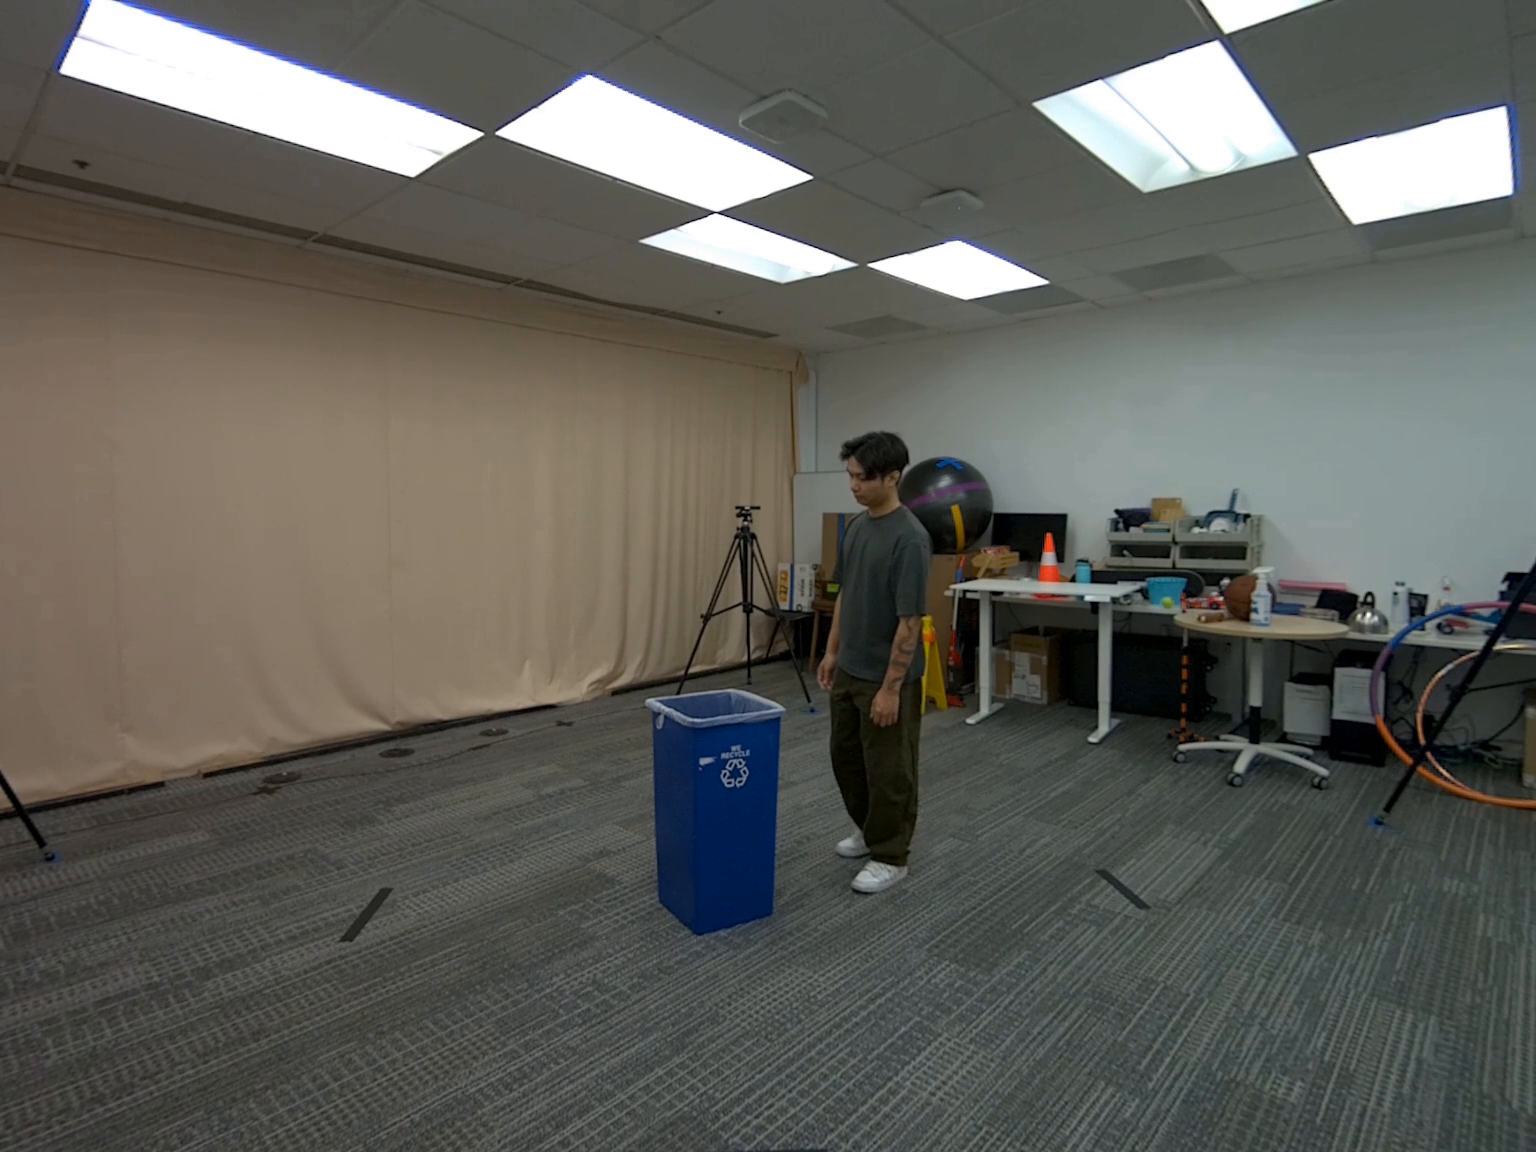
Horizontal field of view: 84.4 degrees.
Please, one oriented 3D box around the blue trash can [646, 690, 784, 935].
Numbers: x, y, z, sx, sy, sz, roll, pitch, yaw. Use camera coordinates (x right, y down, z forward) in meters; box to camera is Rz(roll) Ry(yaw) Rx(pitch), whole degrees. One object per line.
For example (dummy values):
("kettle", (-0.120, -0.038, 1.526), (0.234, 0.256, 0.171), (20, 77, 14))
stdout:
("blue trash can", (-0.174, 0.792, 2.905), (0.367, 0.712, 0.385), (-1, 3, -32))
